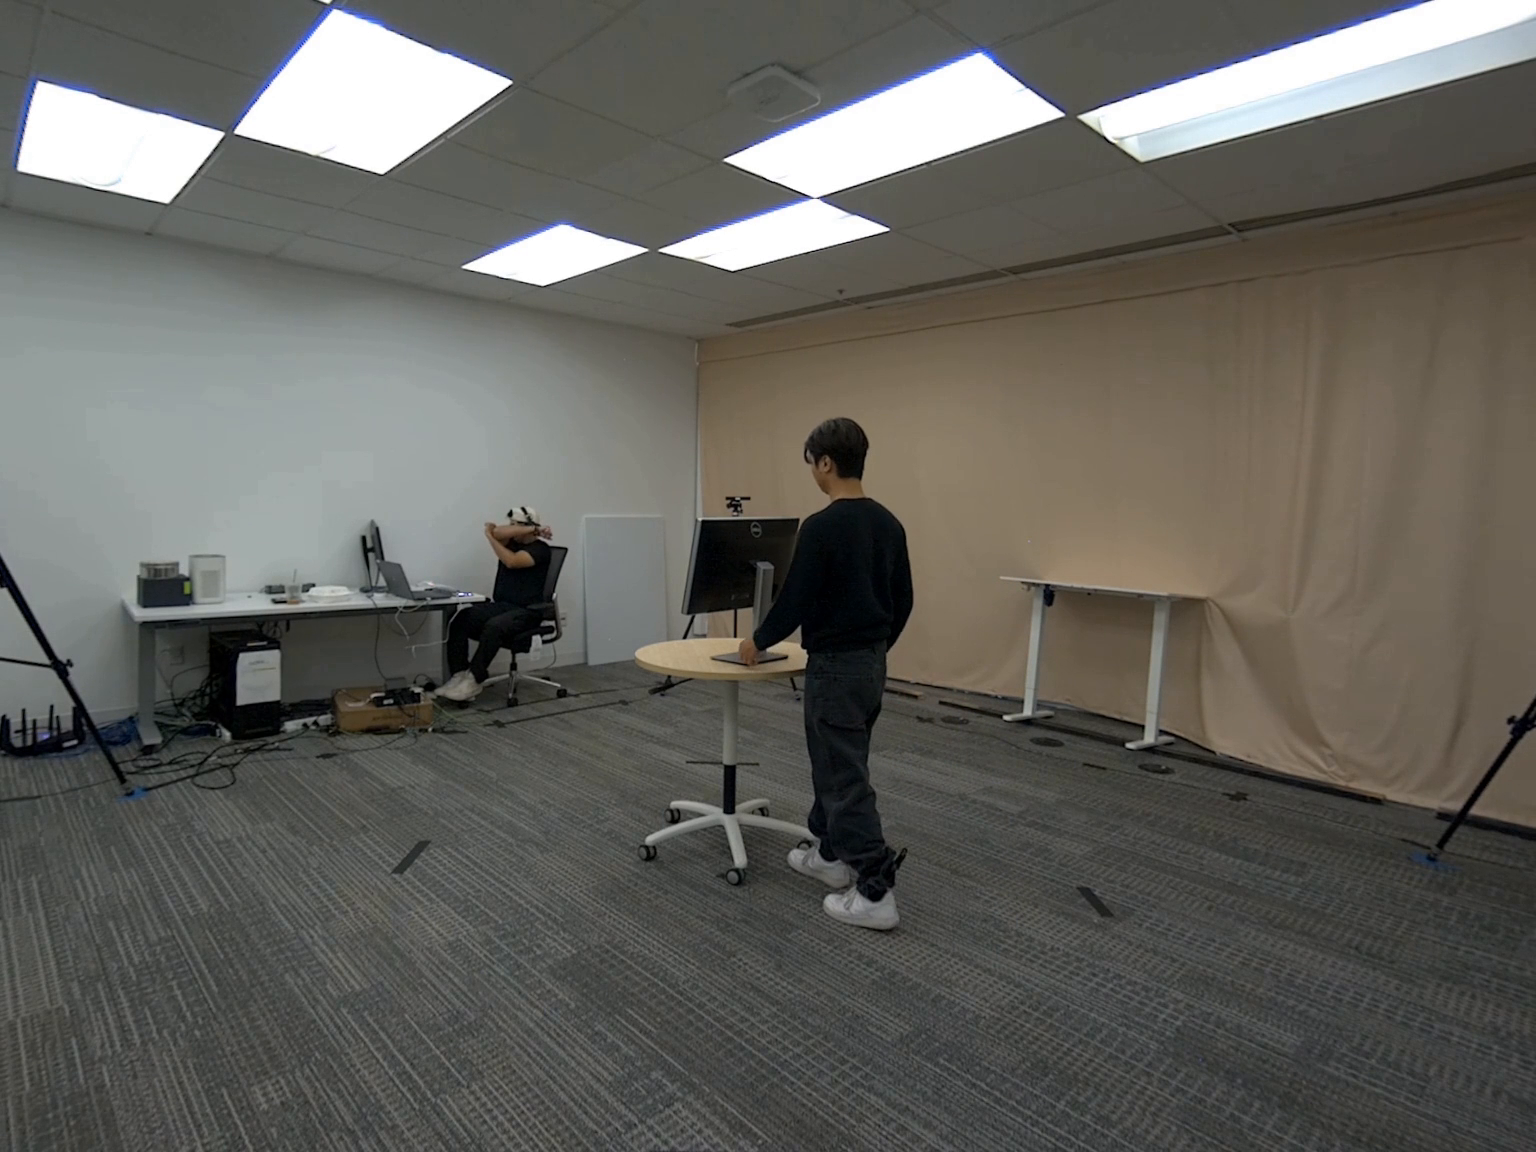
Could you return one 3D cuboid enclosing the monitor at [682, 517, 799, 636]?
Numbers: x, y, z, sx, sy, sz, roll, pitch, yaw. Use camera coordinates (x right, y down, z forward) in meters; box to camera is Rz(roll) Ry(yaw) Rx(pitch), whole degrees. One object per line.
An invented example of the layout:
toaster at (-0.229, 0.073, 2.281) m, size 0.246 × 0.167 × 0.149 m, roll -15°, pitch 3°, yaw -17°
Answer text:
monitor at (-0.072, 0.050, 3.203) m, size 0.192 × 0.521 × 0.527 m, roll 3°, pitch 4°, yaw 41°
